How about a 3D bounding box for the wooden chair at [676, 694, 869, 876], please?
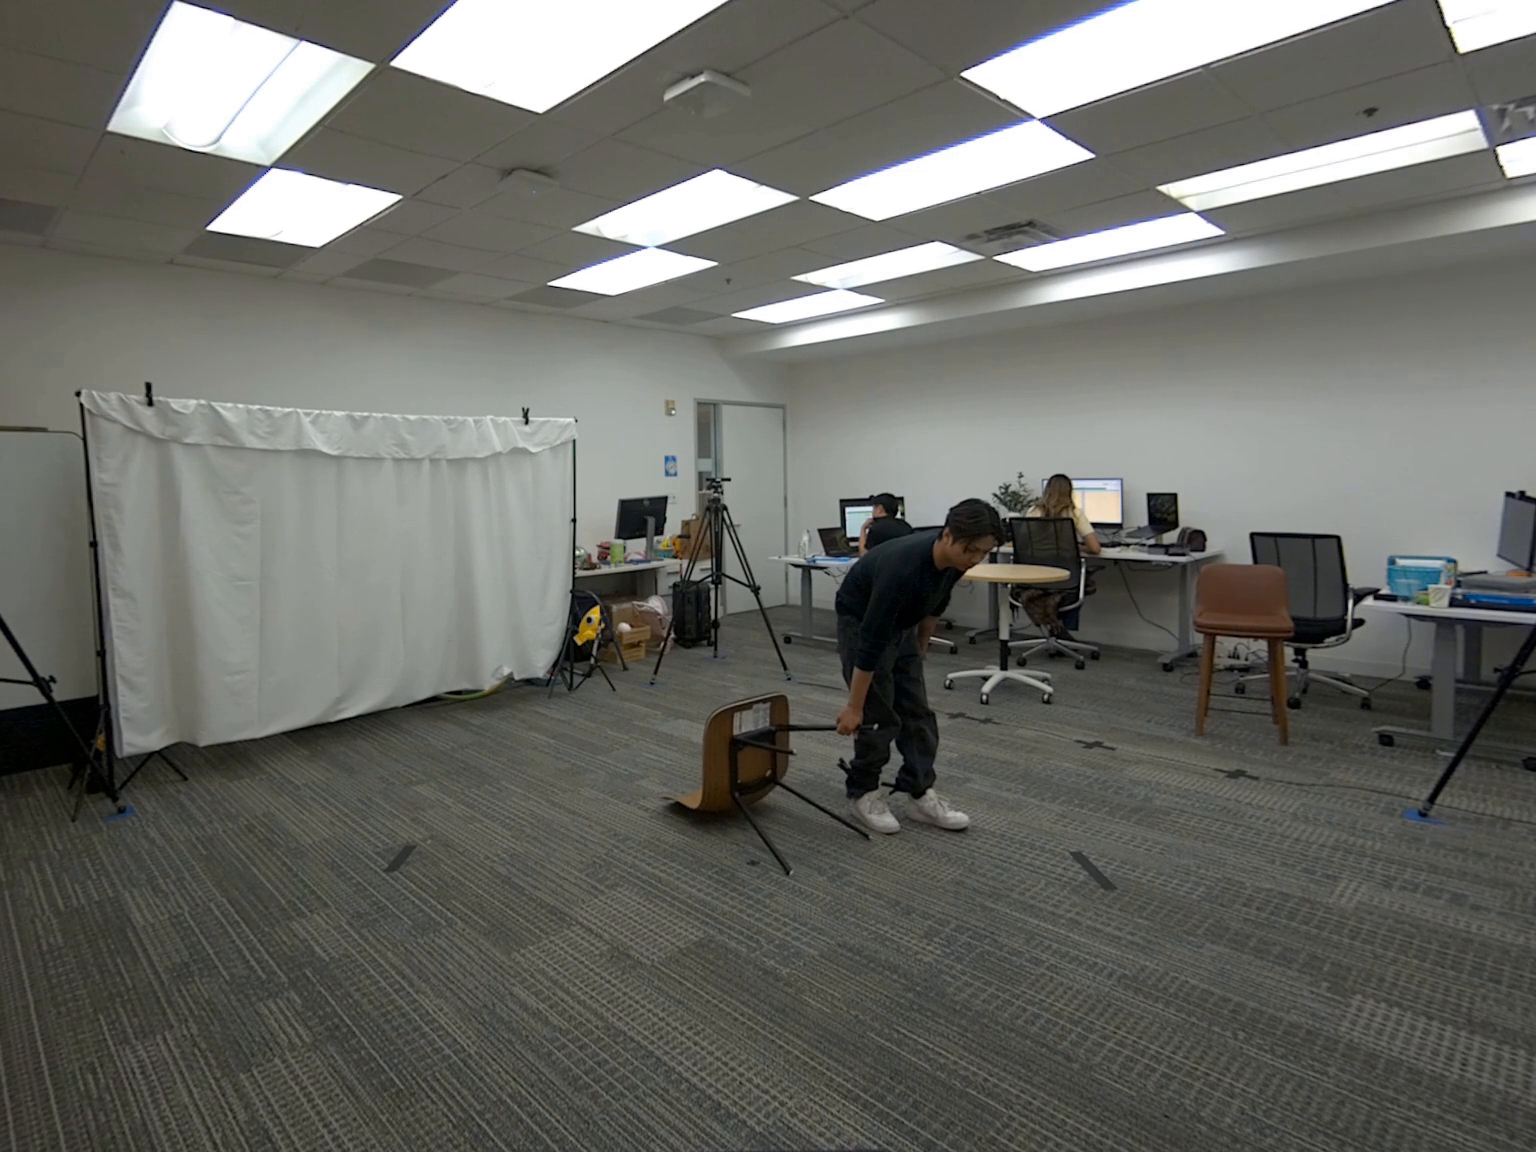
[{"bbox_3d":[-0.050,0.743,3.435,0.465,0.521,0.904,-5,6,-42],"label":"wooden chair"}]
